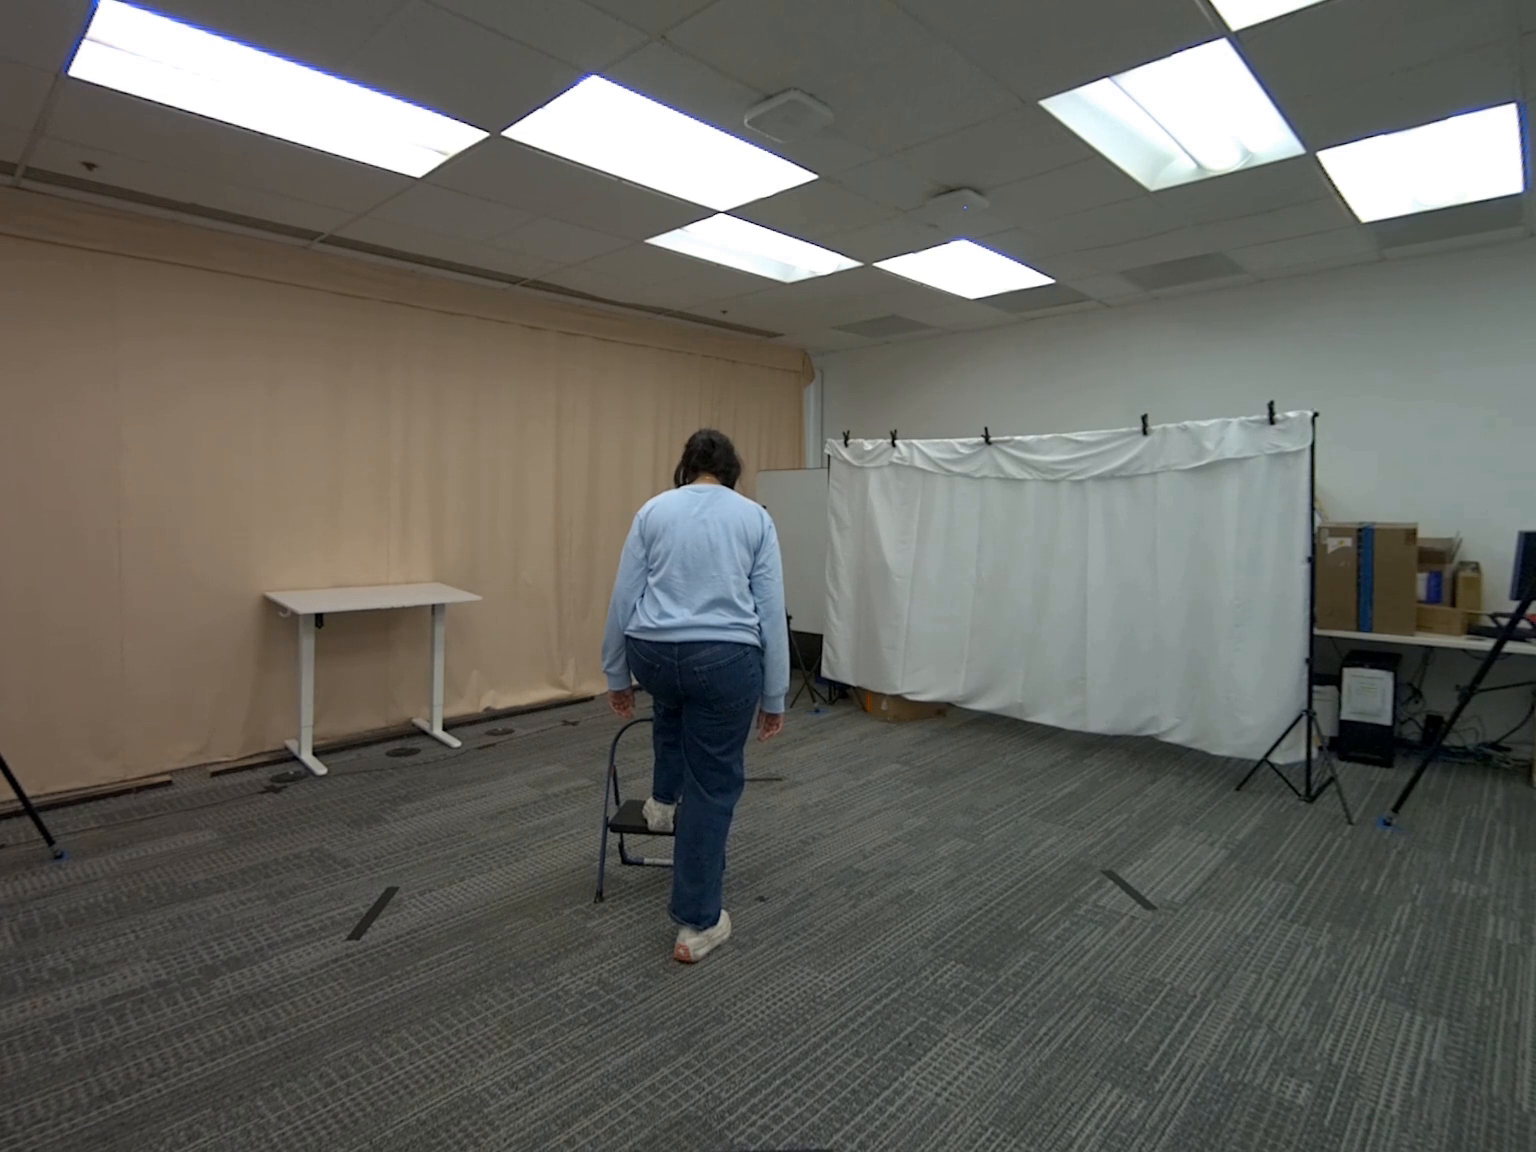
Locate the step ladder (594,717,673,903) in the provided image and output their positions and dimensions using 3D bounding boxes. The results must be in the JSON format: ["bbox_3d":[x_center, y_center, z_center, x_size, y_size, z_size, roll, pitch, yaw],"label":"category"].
[{"bbox_3d":[-0.387,0.839,3.088,0.435,0.605,0.347,0,4,8],"label":"step ladder"}]
